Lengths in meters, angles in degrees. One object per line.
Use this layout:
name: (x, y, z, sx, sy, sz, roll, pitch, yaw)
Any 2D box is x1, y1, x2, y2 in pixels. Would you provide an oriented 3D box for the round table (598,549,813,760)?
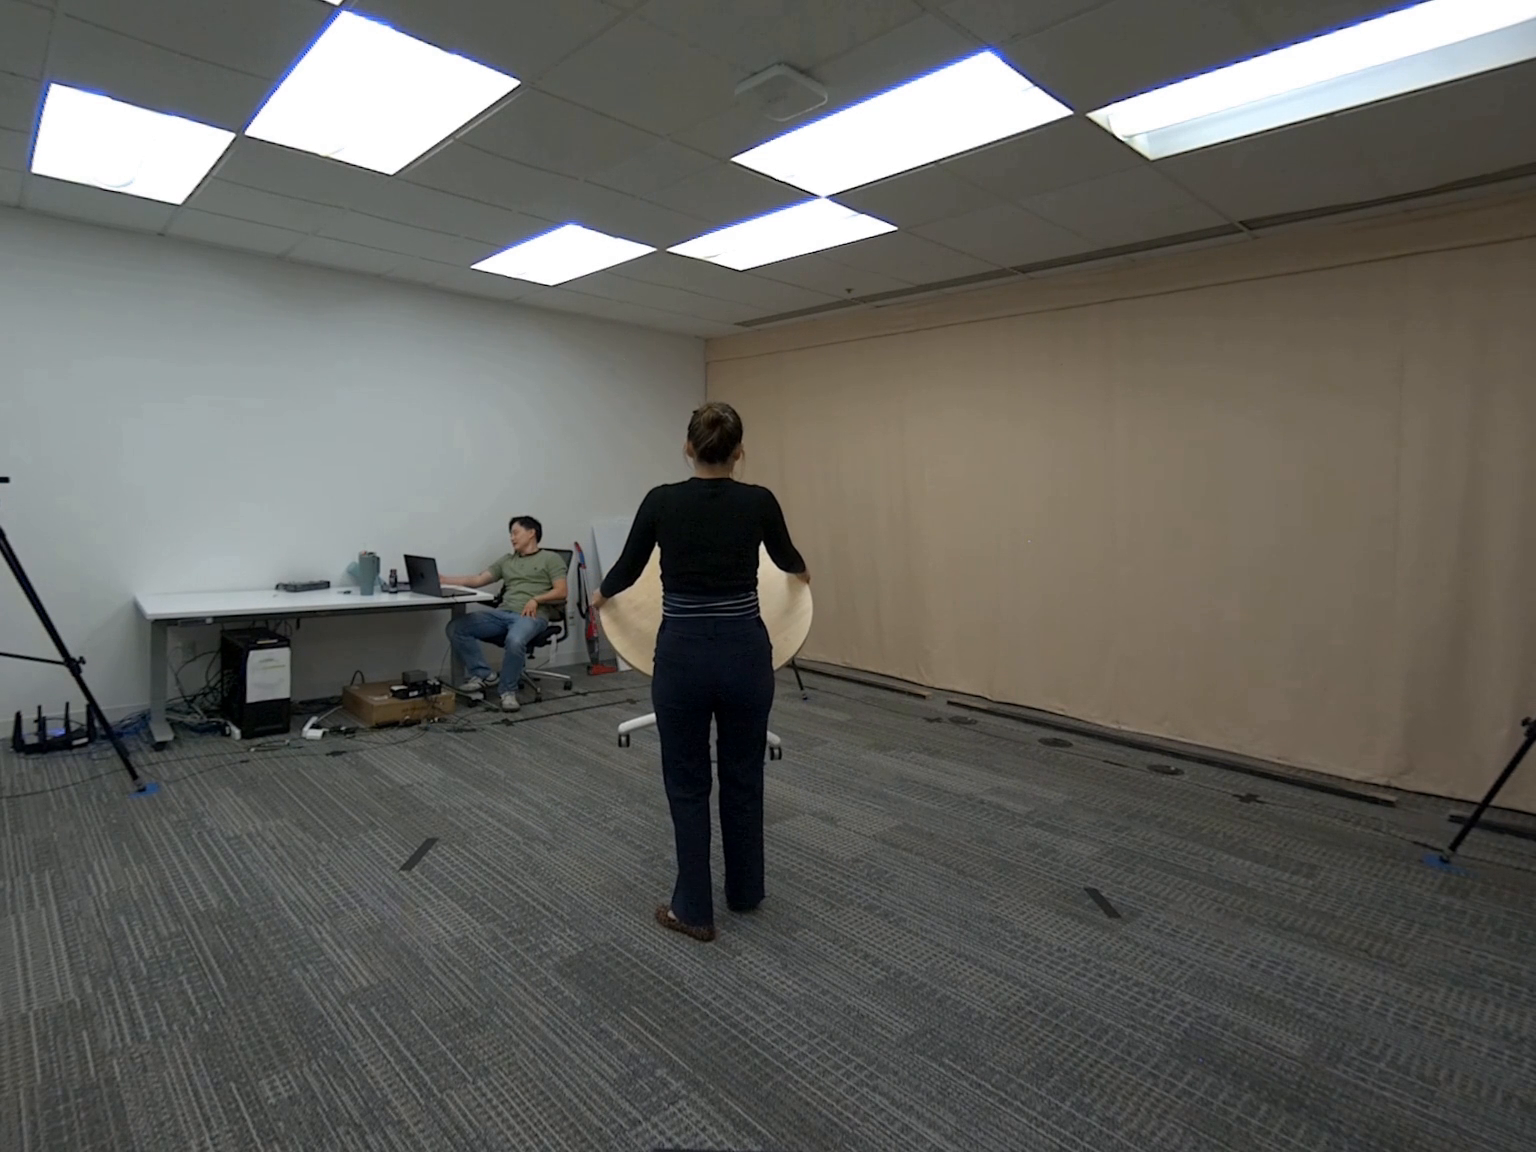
round table: (-0.258, 0.365, 3.300, 0.762, 0.778, 0.781, 2, 45, -4)
